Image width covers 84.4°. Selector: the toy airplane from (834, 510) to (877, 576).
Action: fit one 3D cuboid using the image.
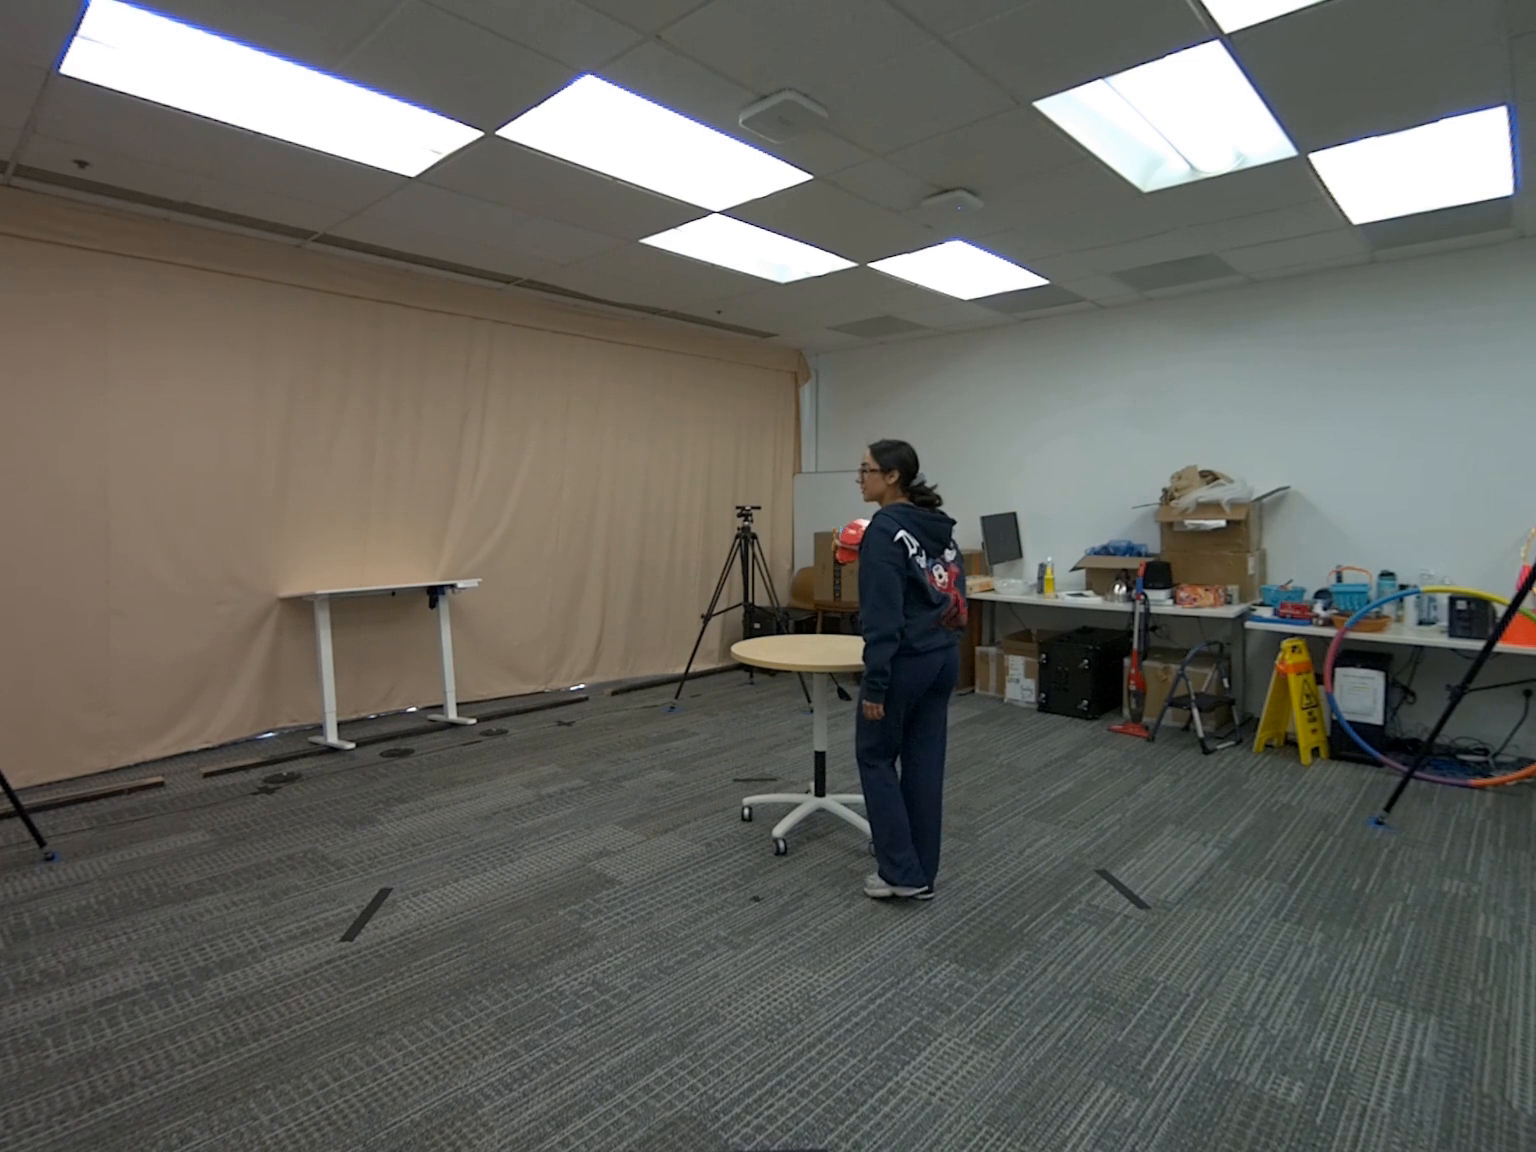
[{"bbox_3d":[0.428,-0.146,3.447,0.259,0.154,0.255,-11,22,0],"label":"toy airplane"}]
